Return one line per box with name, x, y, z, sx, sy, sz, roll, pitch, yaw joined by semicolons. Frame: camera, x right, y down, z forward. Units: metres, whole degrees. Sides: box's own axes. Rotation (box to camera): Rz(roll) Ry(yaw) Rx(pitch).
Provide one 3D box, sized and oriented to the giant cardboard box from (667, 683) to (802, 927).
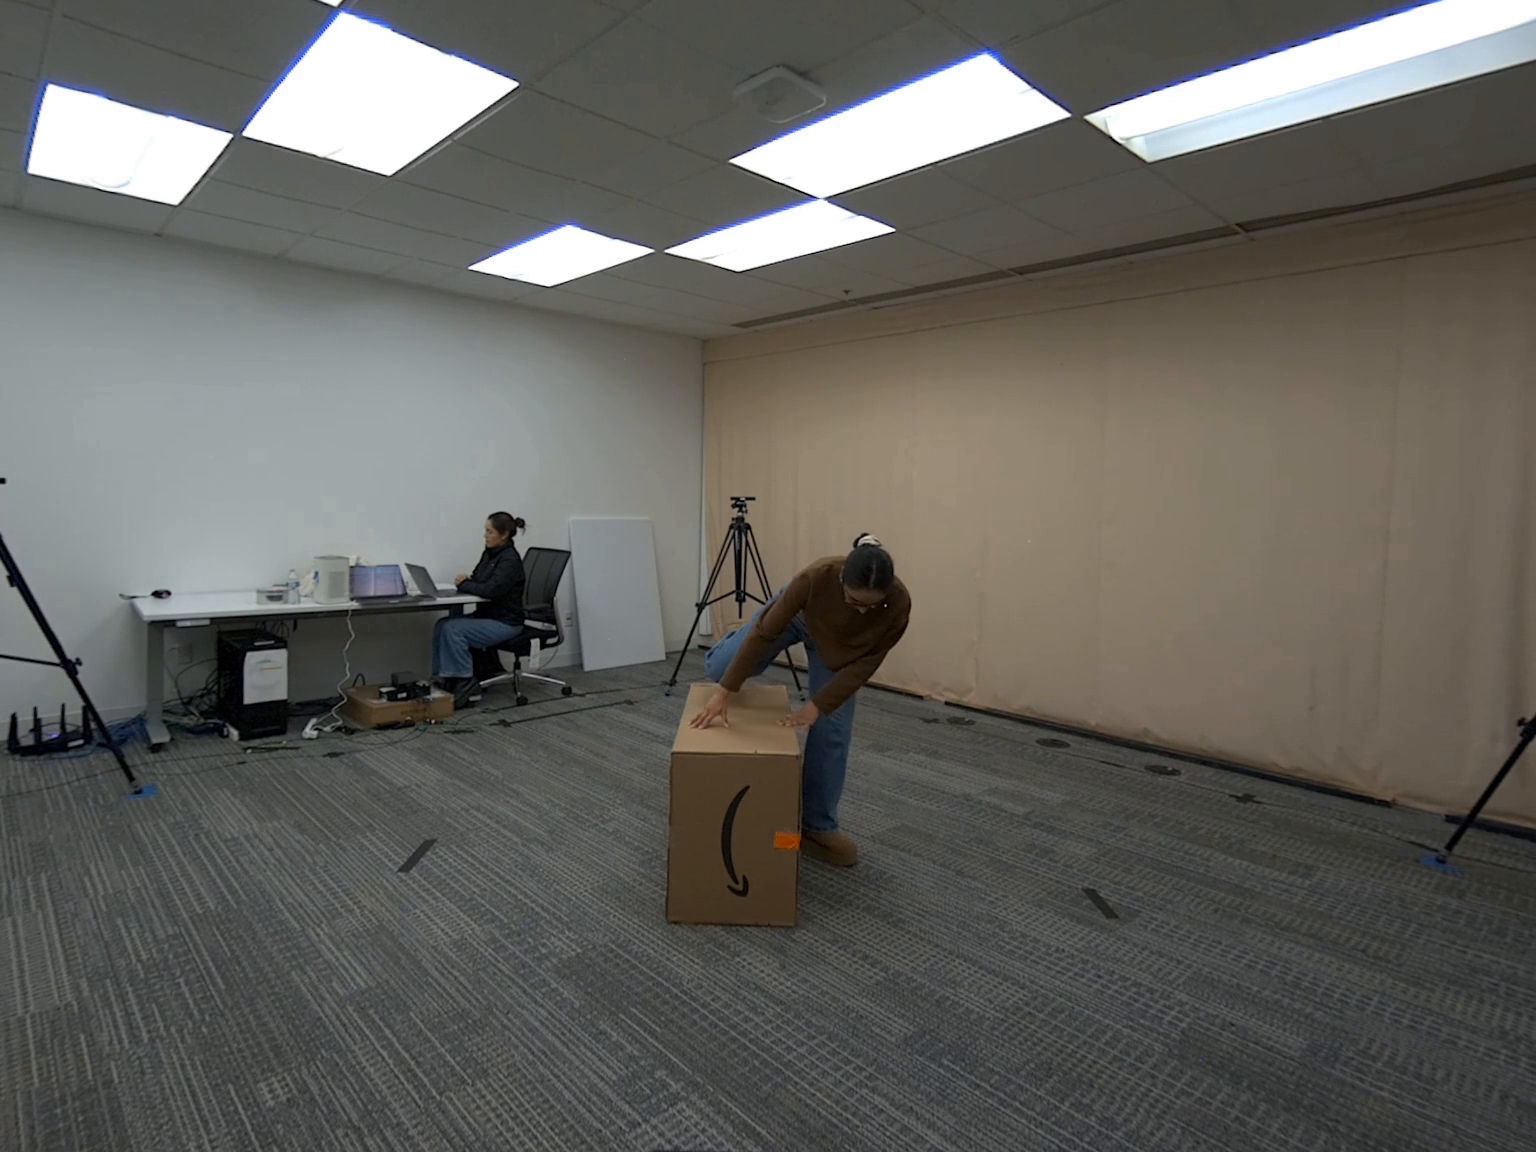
giant cardboard box;-0.121;0.807;3.234;0.447;0.582;1.030;1;5;-1
